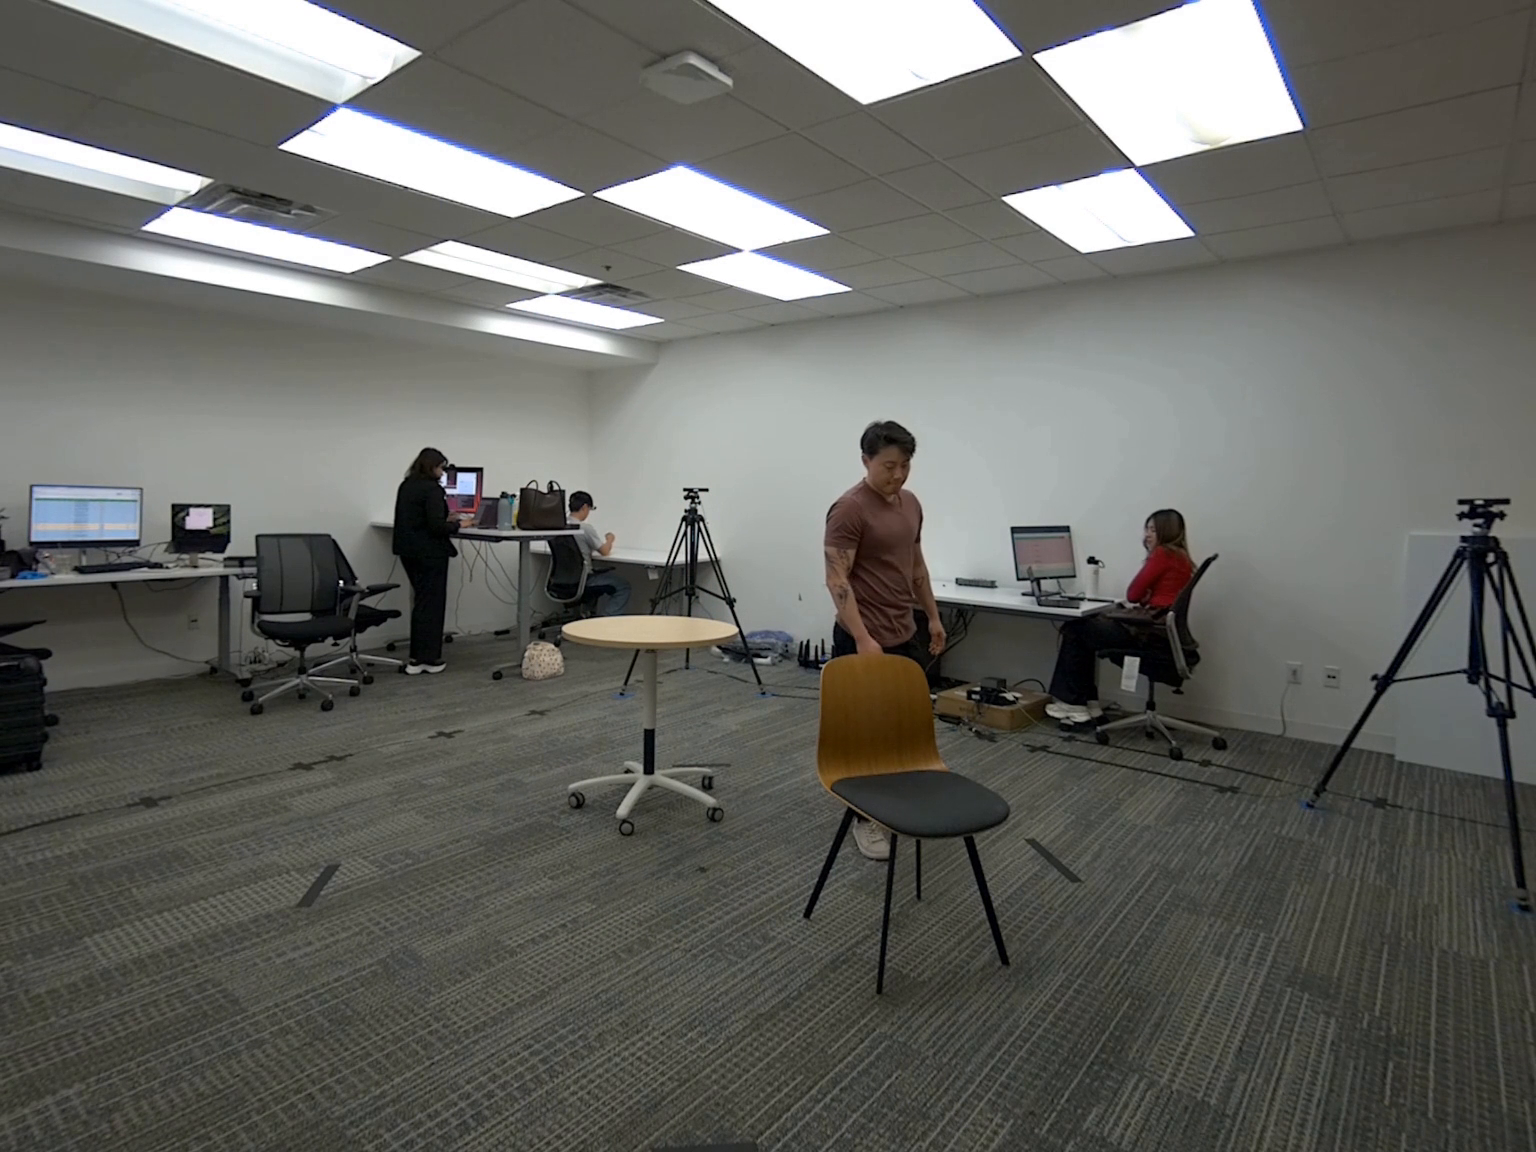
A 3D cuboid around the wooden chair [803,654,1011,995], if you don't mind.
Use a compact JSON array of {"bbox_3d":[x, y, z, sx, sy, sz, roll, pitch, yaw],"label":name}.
[{"bbox_3d":[0.418,0.706,2.608,0.467,0.878,0.535,0,0,-24],"label":"wooden chair"}]
